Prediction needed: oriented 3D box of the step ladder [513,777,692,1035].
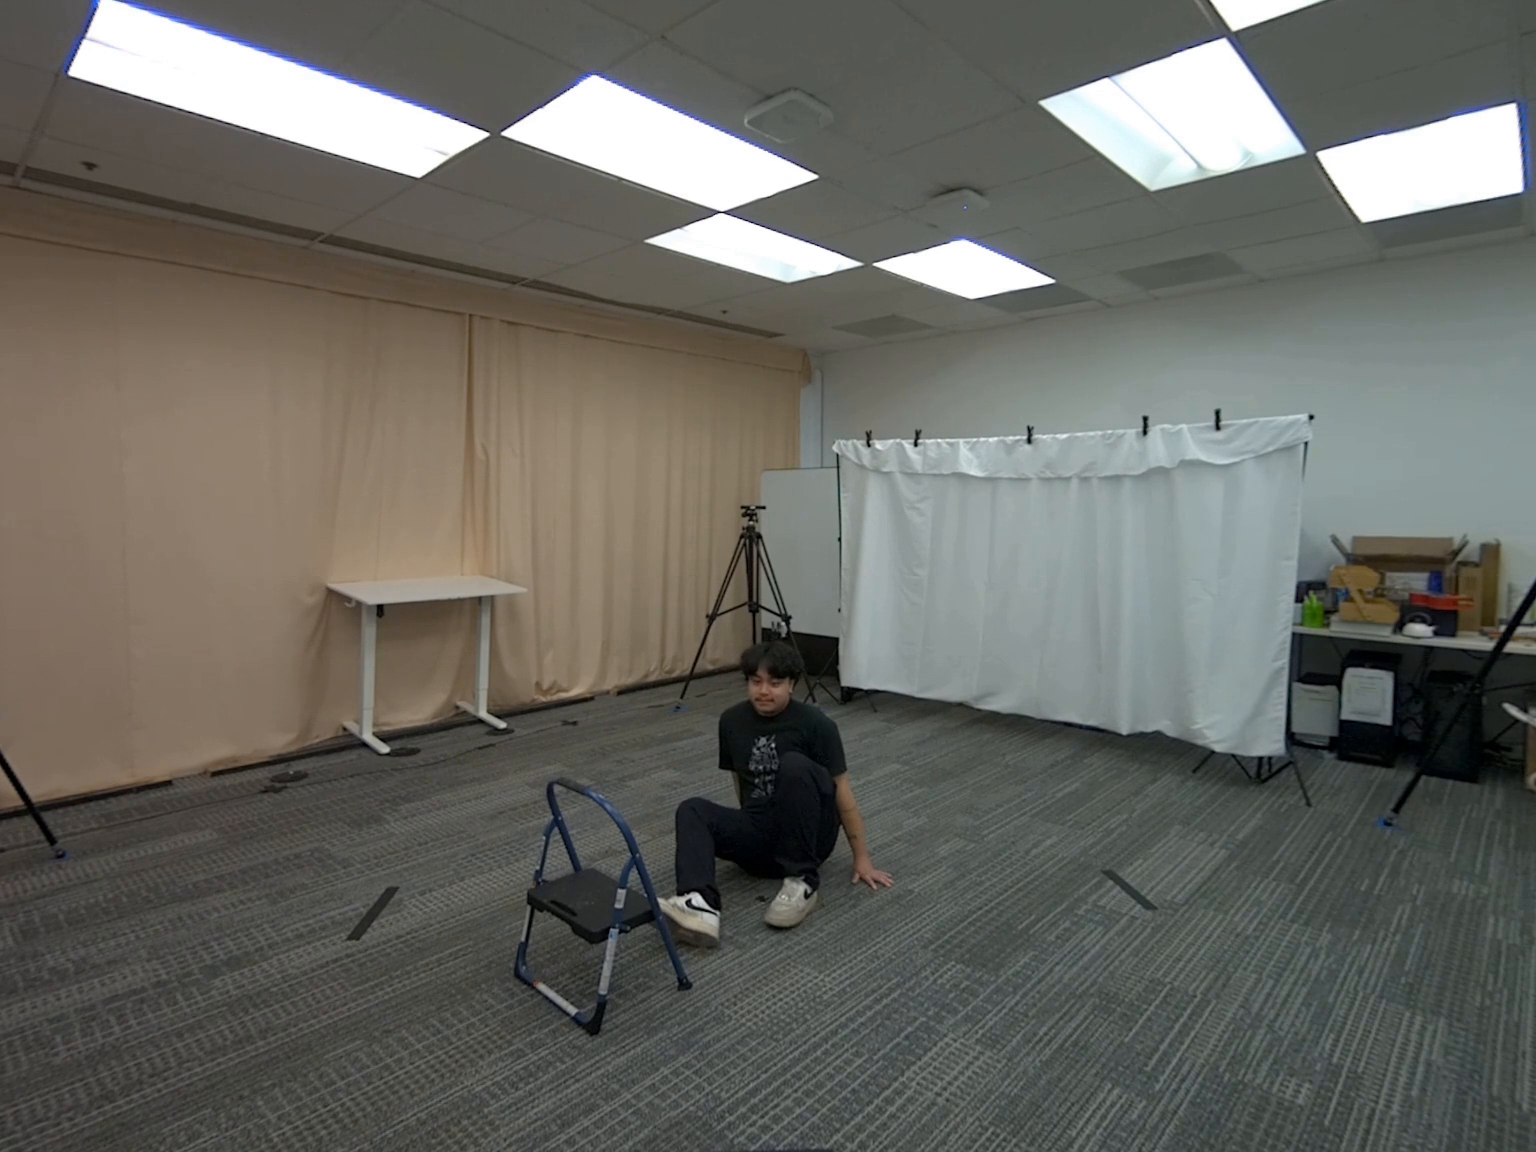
[{"bbox_3d":[-0.493,0.889,2.455,0.445,0.605,0.338,2,4,44],"label":"step ladder"}]
